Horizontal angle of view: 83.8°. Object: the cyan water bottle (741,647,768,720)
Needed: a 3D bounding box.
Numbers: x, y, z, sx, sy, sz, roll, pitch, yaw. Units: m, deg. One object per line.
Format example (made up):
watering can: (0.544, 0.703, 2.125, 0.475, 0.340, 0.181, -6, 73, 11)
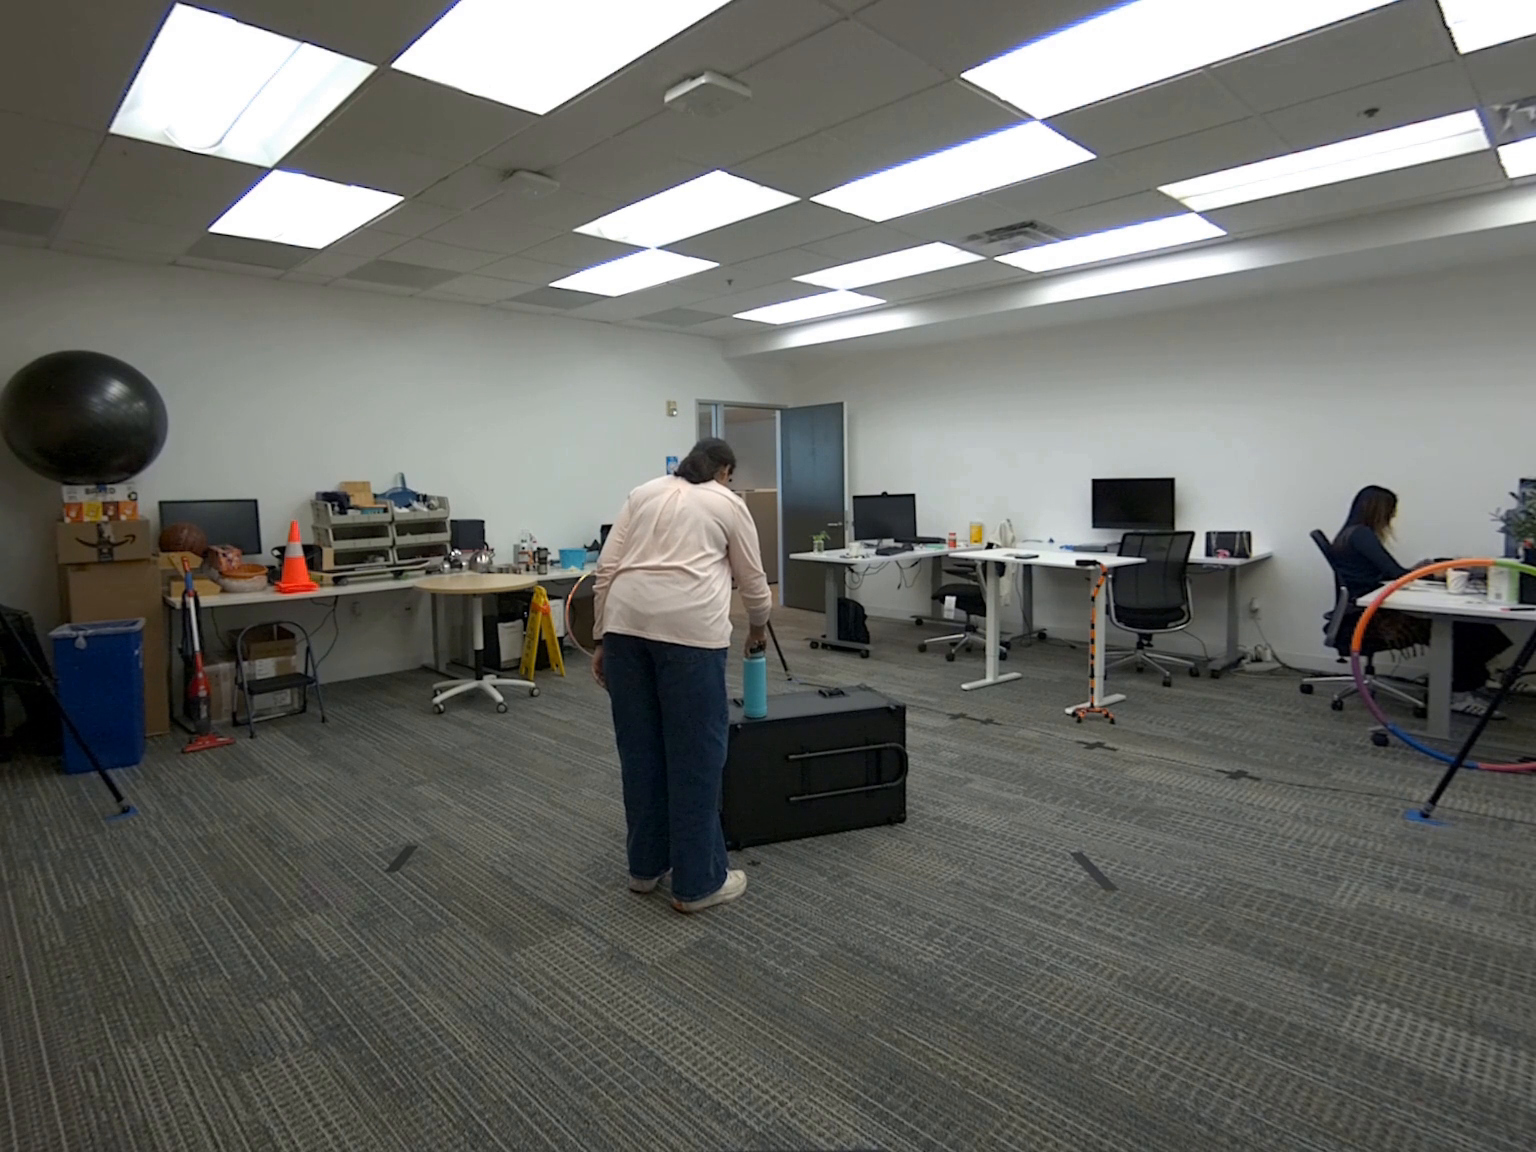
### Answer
cyan water bottle: (-0.047, 0.395, 3.315, 0.092, 0.282, 0.092, -2, 3, -2)
